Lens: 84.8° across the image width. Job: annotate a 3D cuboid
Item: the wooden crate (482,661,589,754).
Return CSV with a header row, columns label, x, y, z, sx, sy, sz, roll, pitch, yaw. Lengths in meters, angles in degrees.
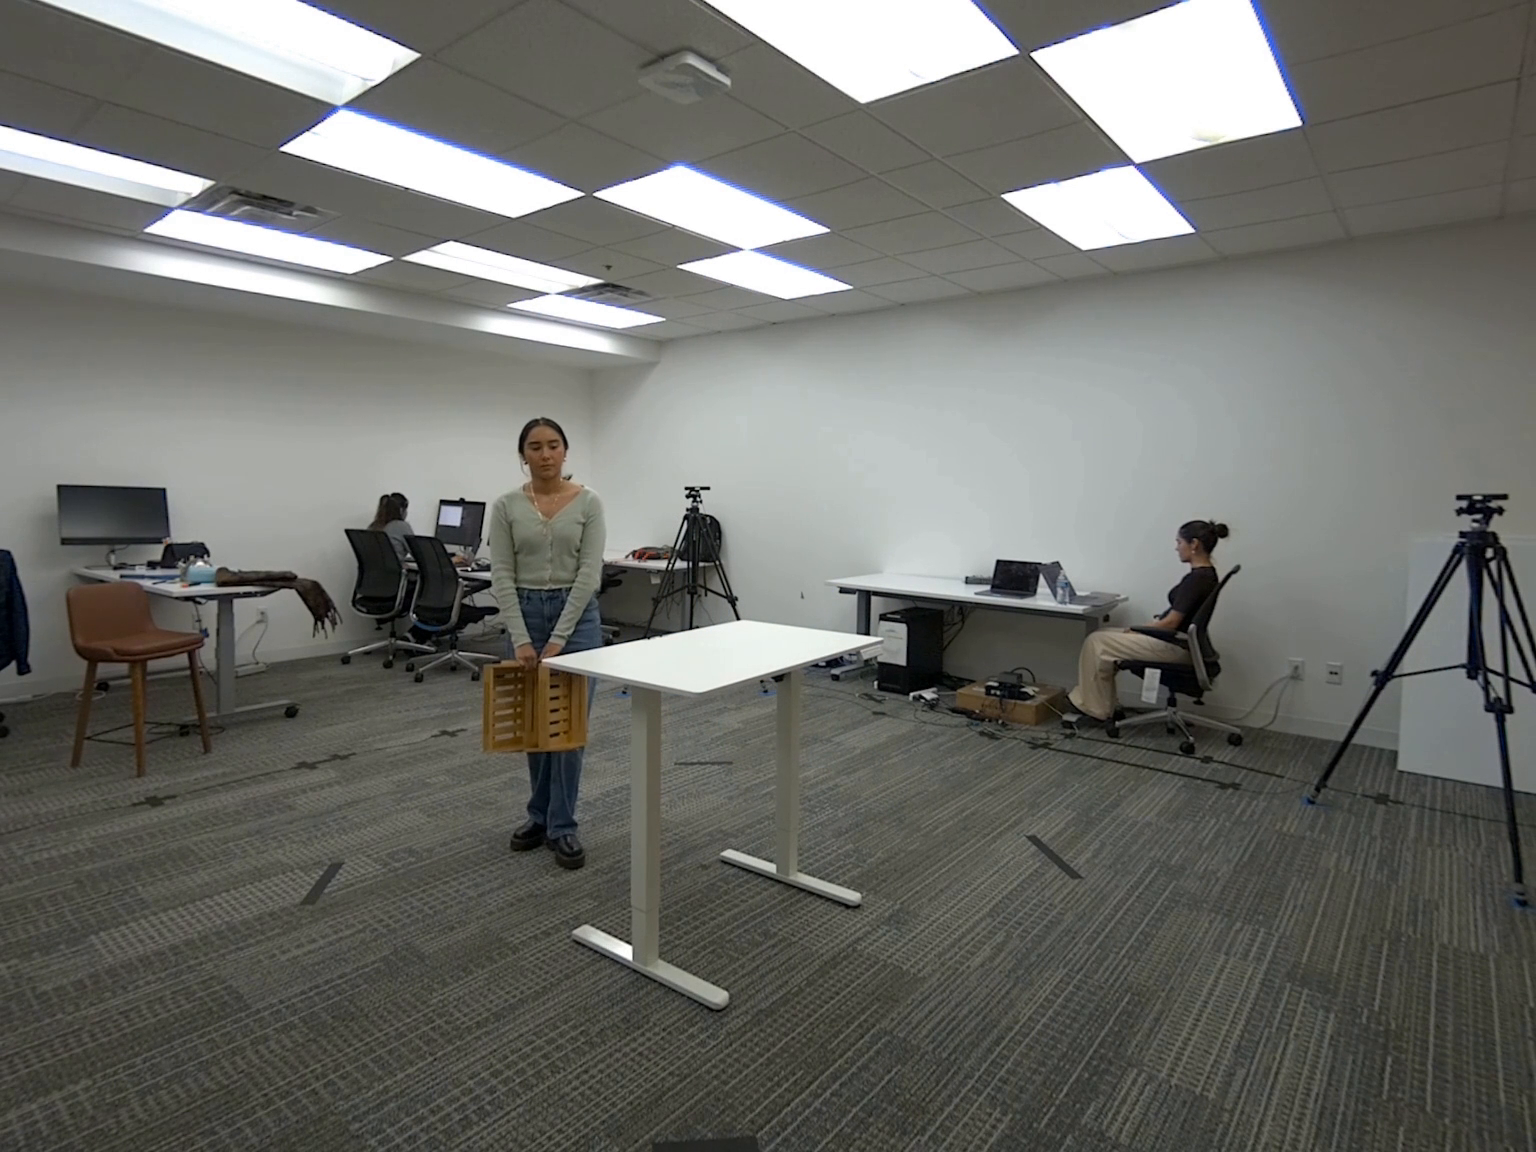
label,x,y,z,sx,sy,sz,roll,pitch,yaw
wooden crate,-0.846,0.465,3.054,0.278,0.327,0.294,-3,-8,18
